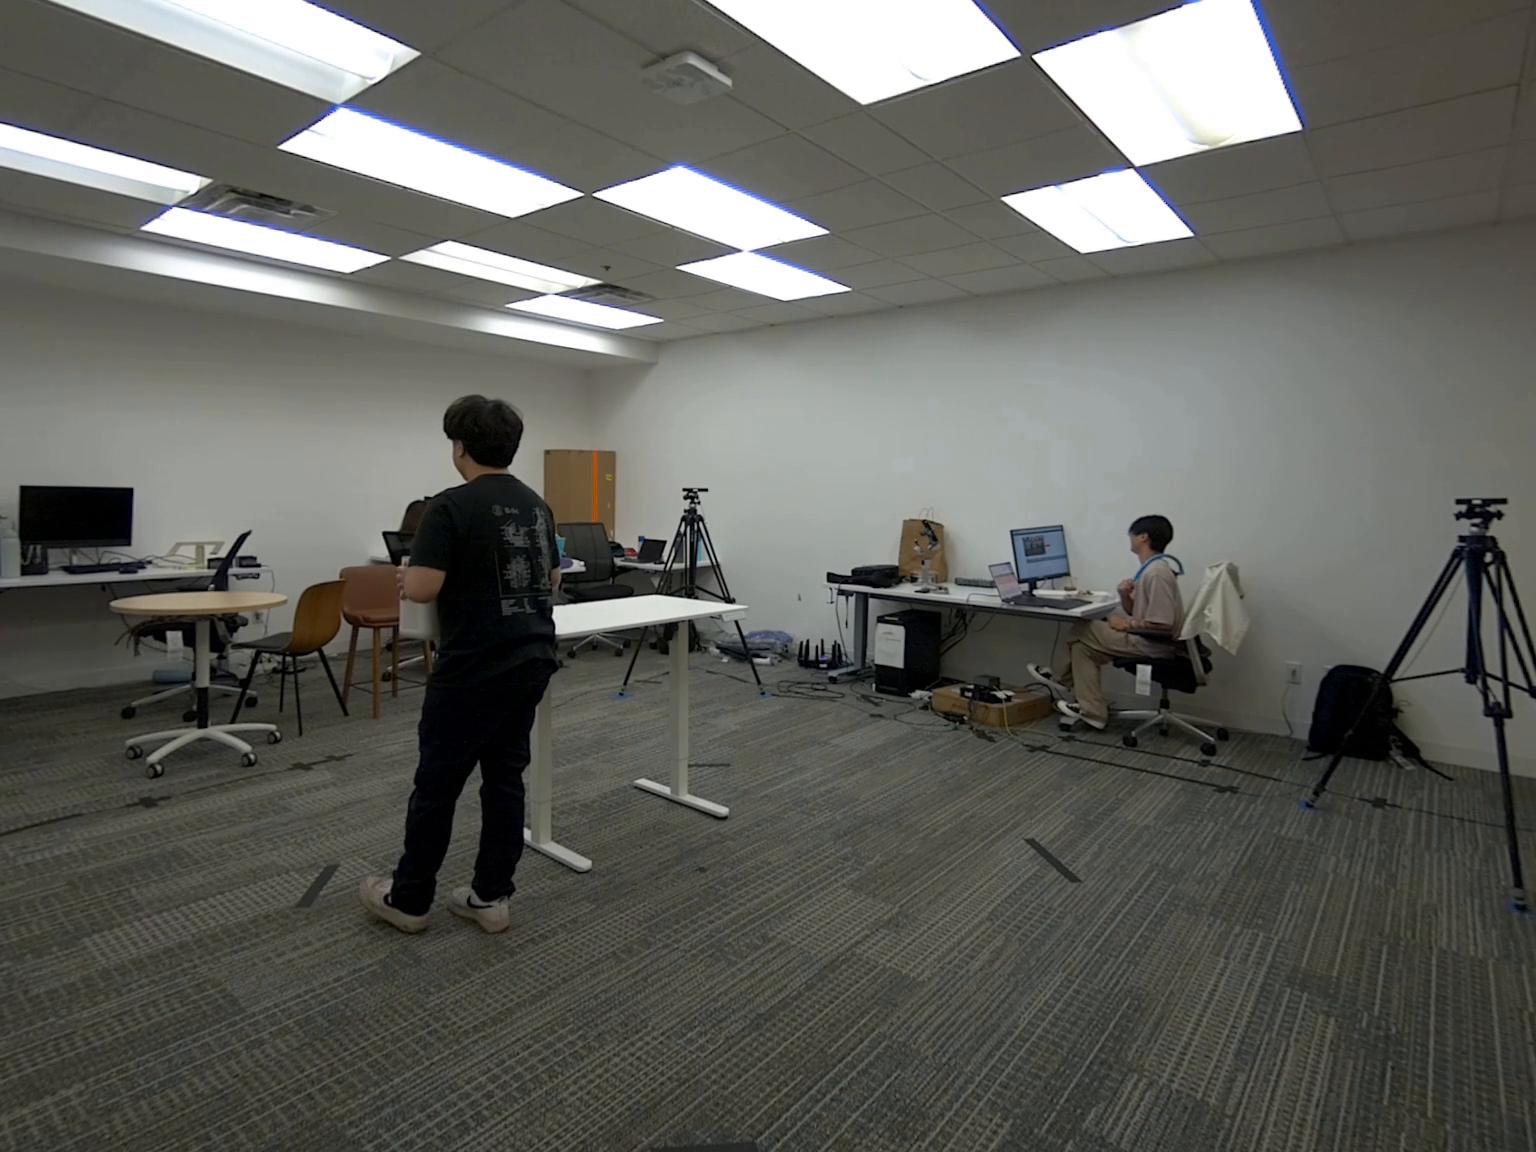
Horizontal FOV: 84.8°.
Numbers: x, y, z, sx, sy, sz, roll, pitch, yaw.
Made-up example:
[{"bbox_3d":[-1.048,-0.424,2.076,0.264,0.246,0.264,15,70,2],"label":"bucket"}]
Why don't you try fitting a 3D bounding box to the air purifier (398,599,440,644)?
[{"bbox_3d":[-1.108,0.070,2.787,0.177,0.265,0.166,2,3,31],"label":"air purifier"}]
